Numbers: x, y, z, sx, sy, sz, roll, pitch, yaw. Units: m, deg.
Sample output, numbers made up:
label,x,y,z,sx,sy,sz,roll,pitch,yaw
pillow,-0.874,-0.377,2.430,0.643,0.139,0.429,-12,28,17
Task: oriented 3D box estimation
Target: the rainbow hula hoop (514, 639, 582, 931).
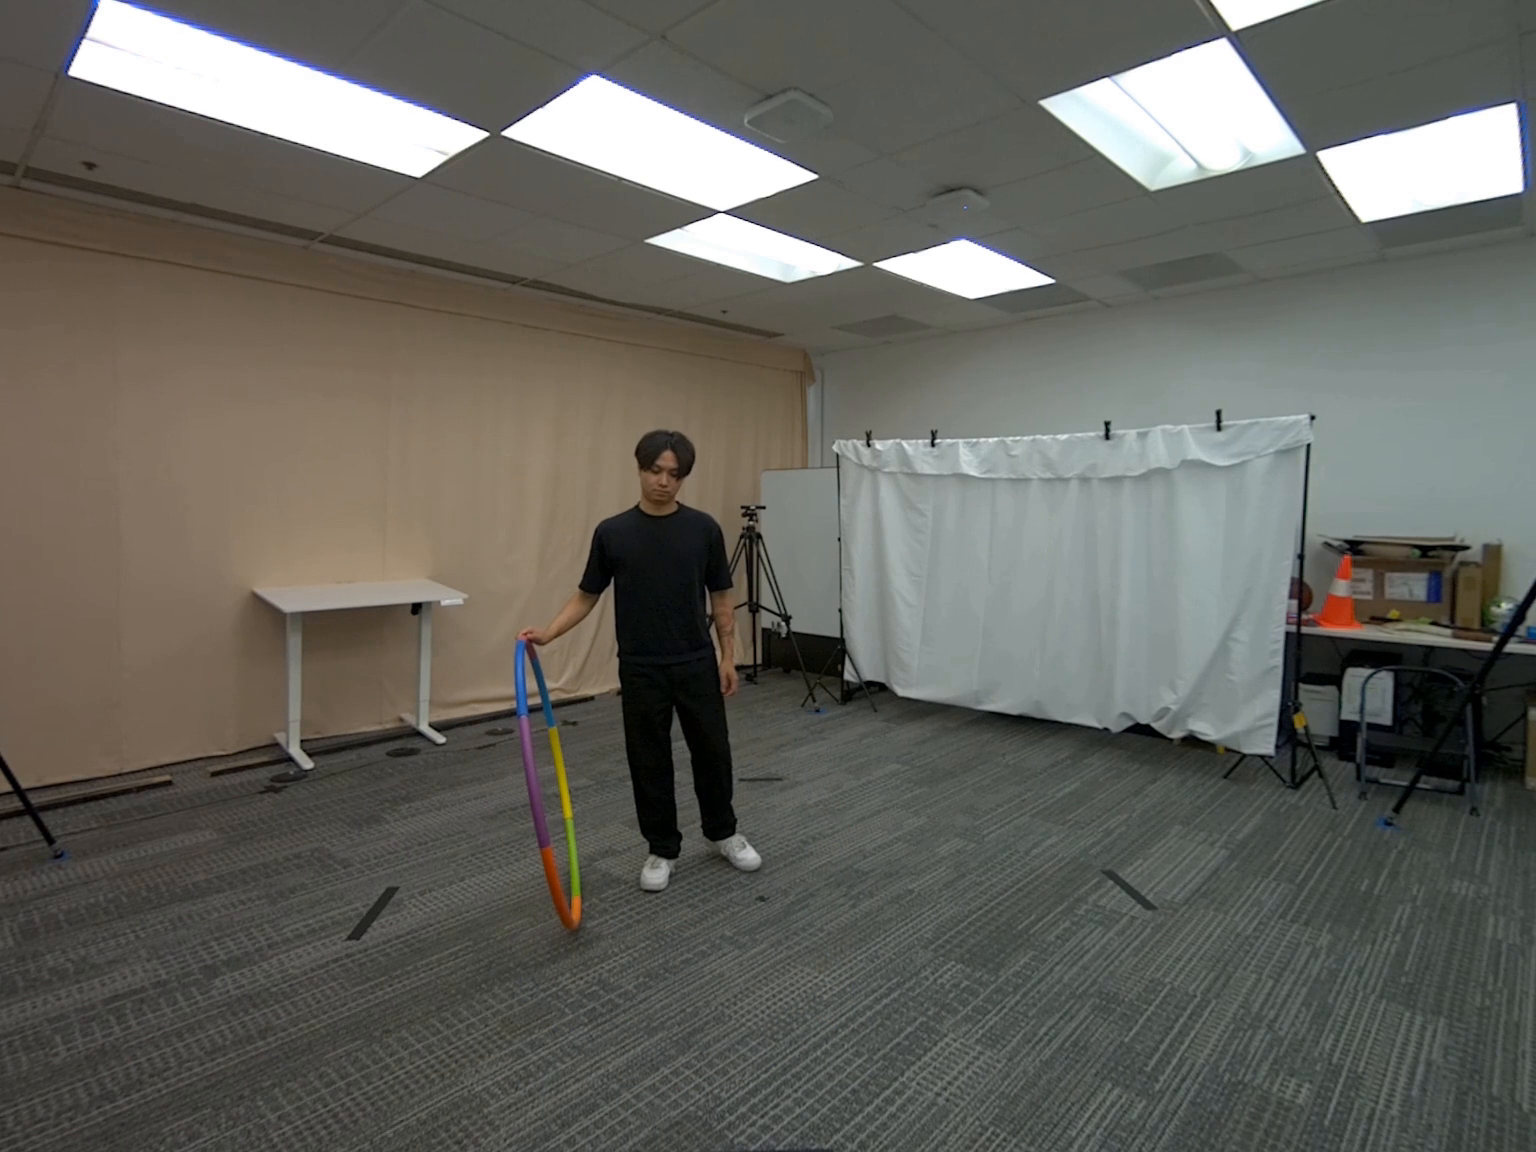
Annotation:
label,x,y,z,sx,sy,sz,roll,pitch,yaw
rainbow hula hoop,-0.733,0.679,2.856,0.035,0.975,0.992,-9,5,-11
